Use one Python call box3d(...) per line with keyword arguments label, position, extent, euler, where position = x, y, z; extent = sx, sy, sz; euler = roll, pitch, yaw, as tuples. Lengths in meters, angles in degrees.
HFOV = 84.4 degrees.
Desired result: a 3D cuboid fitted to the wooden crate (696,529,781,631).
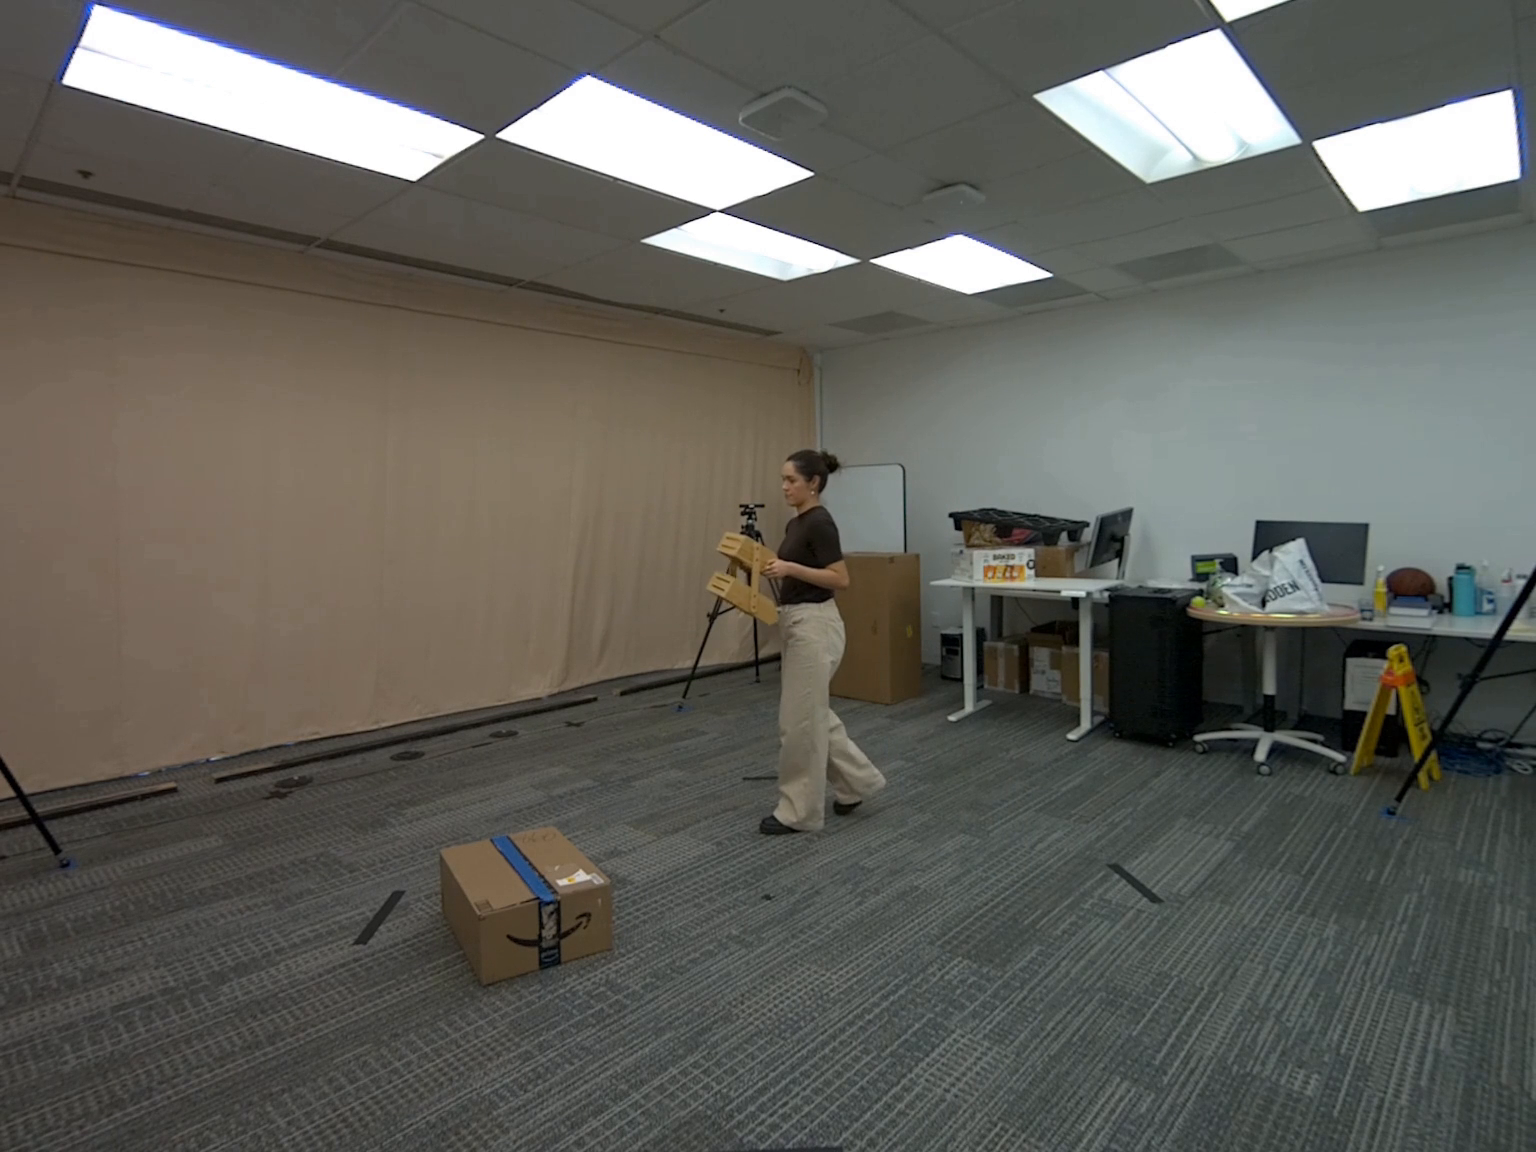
box3d(label="wooden crate", position=(-0.068, 0.007, 3.558), extent=(0.296, 0.273, 0.331), euler=(32, -5, -18))
